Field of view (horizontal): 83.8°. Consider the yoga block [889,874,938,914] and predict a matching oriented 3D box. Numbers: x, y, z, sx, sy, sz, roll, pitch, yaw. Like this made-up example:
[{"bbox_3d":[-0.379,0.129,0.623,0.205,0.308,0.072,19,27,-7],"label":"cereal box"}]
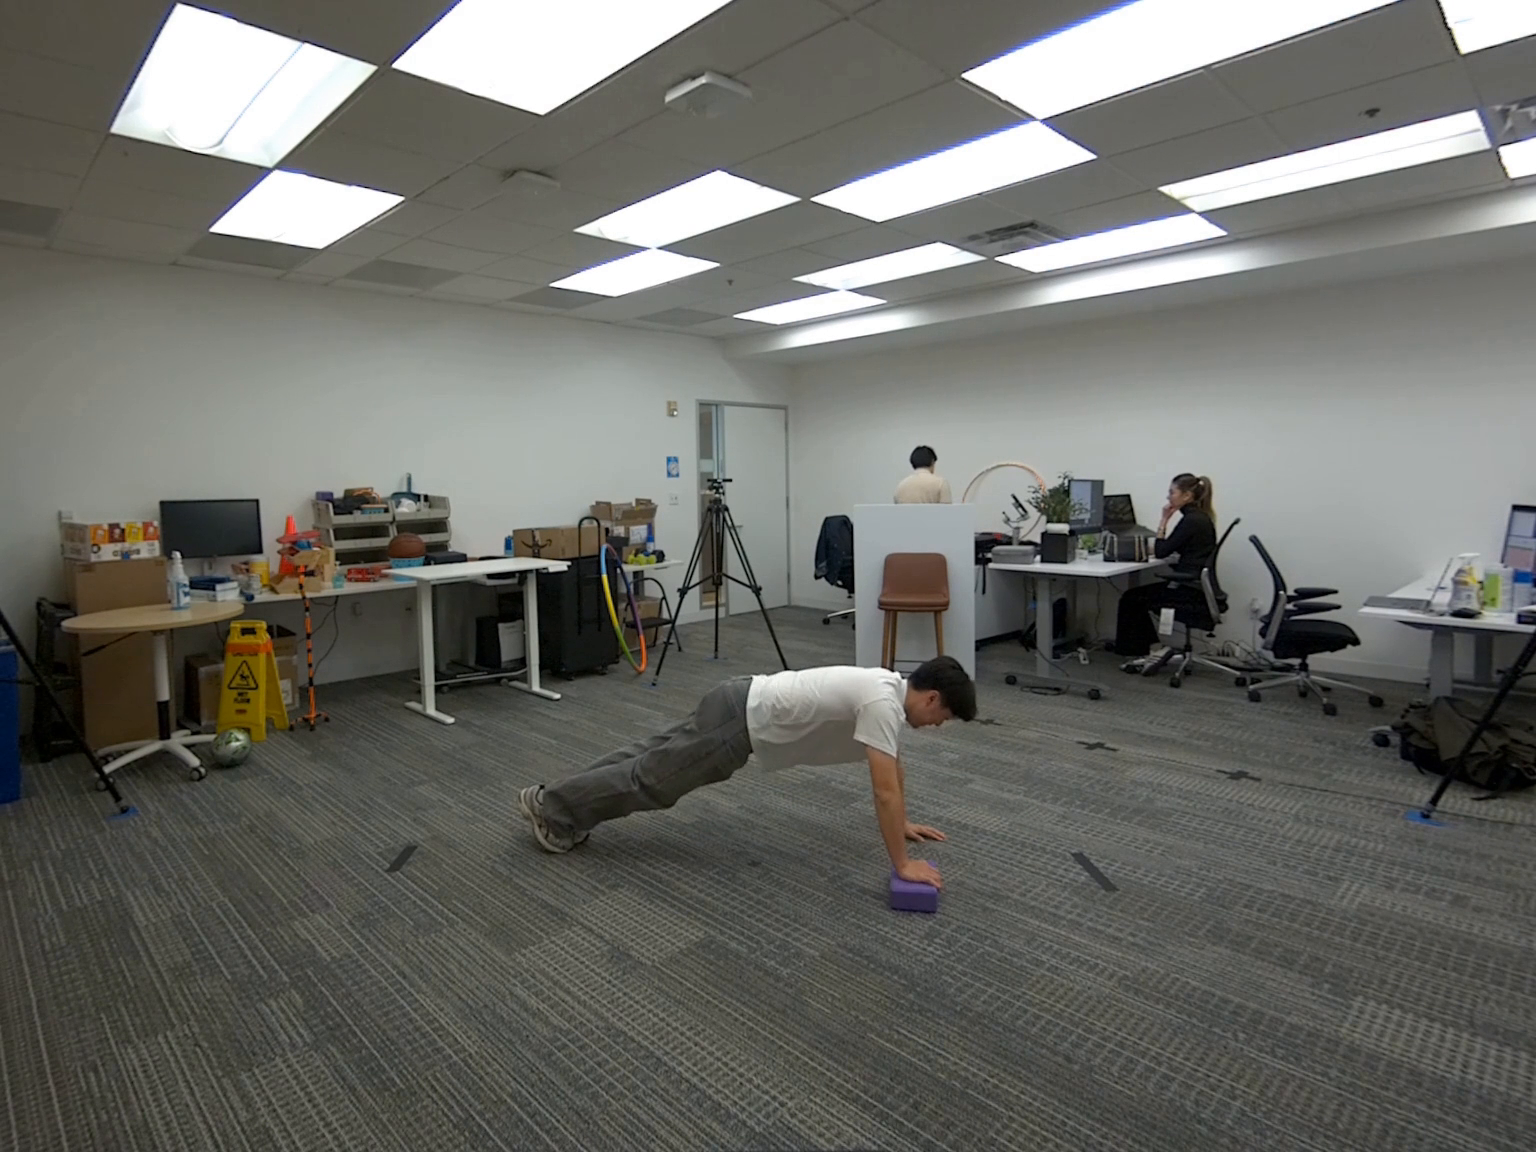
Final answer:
[{"bbox_3d":[0.491,1.032,2.849,0.151,0.076,0.227,-1,5,12],"label":"yoga block"}]
